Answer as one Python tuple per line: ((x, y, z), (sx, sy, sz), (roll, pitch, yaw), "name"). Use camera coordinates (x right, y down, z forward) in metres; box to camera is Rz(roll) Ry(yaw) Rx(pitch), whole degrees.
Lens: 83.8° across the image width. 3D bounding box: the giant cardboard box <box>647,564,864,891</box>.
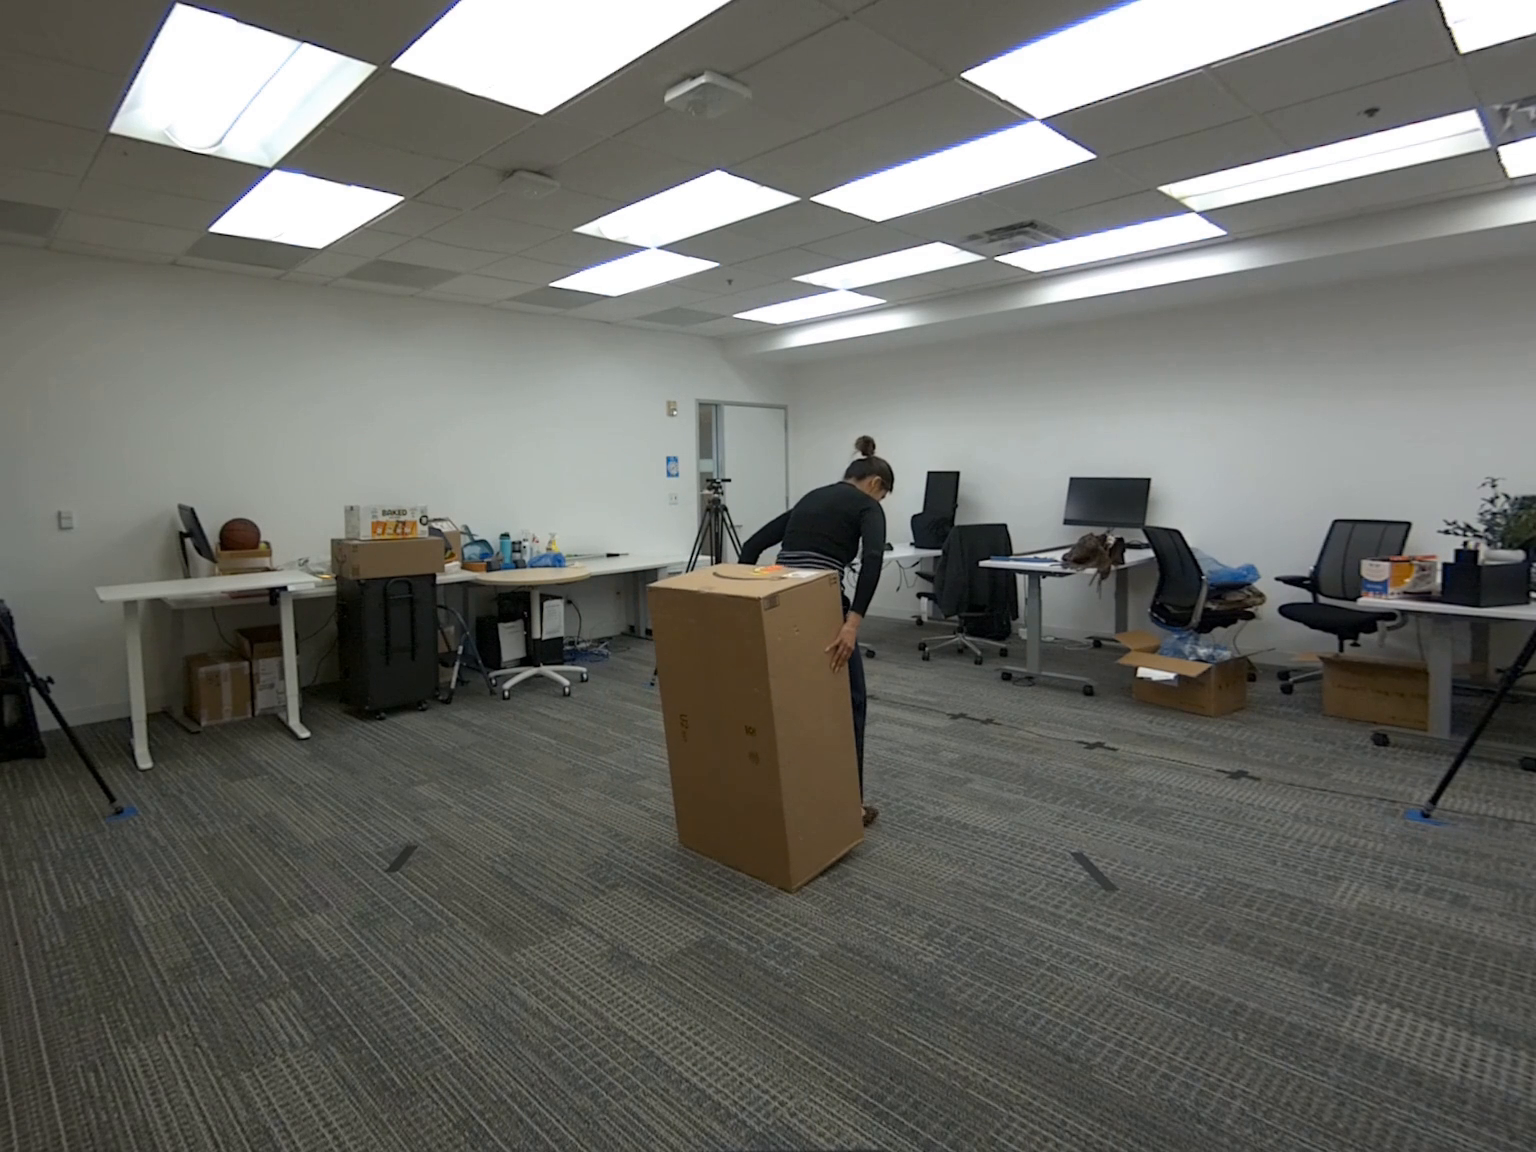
((-0.049, 0.510, 3.148), (0.595, 1.017, 0.417), (1, 11, 44), "giant cardboard box")
